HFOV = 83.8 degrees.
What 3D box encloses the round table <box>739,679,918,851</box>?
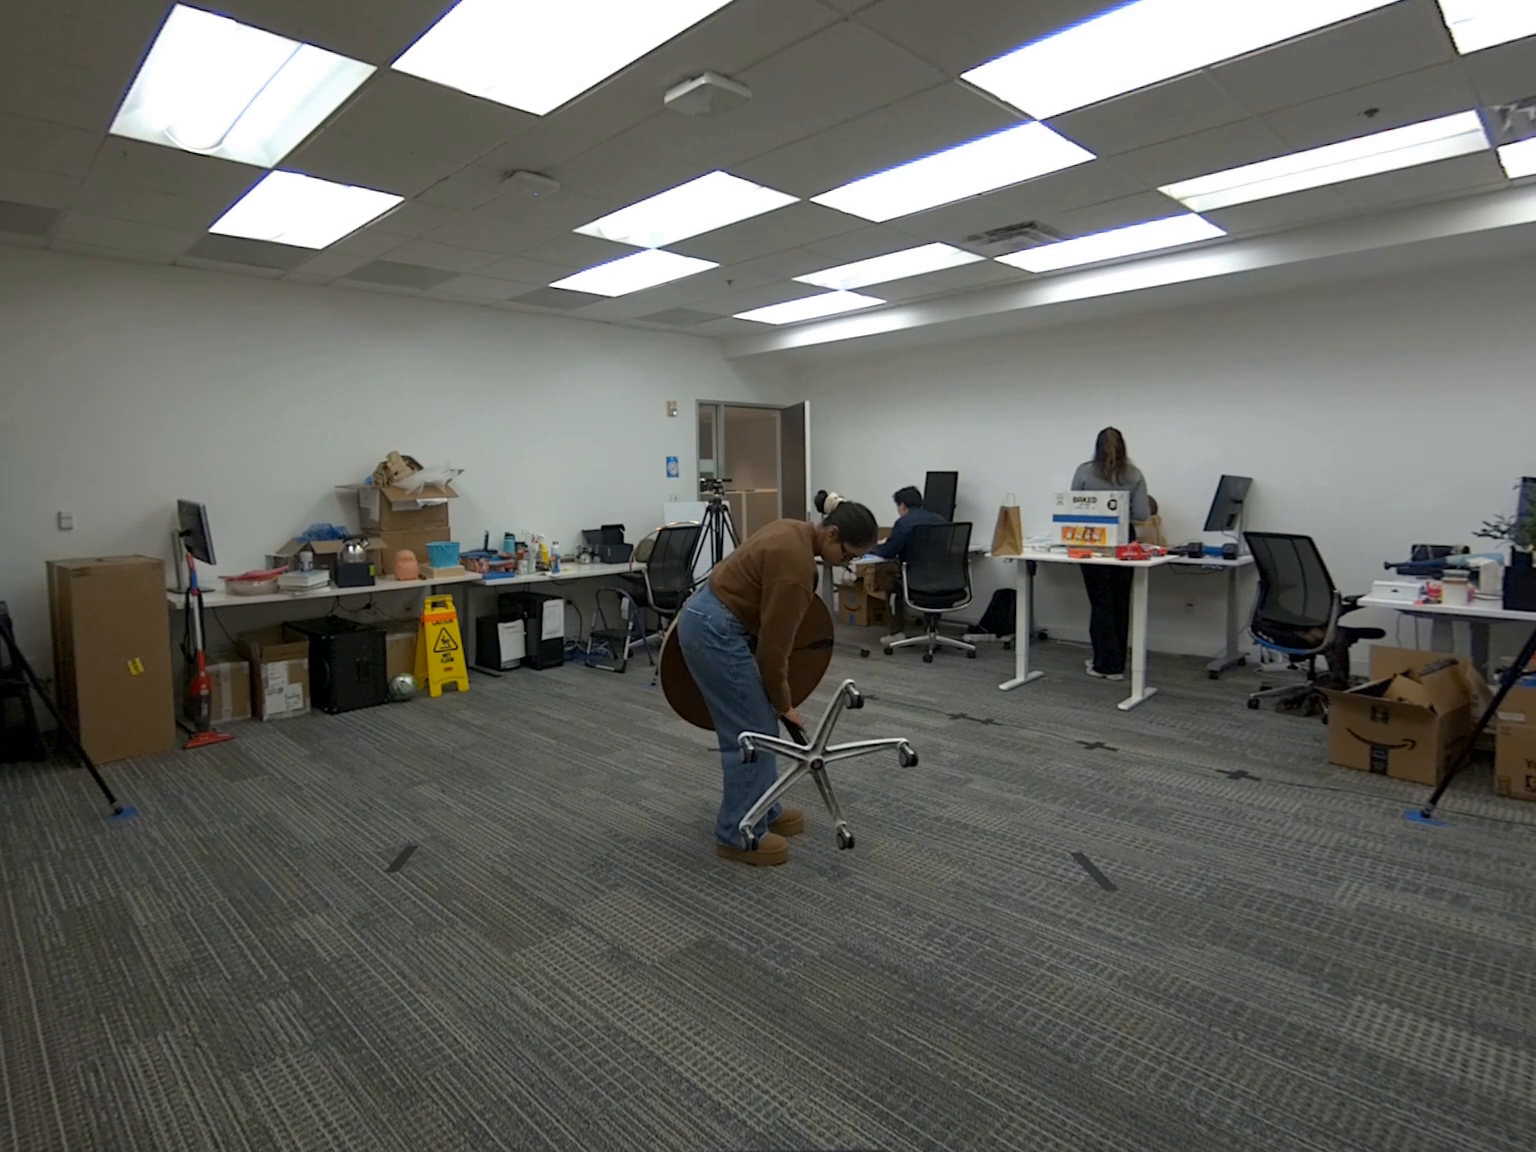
[{"bbox_3d":[0.065,0.507,3.212,0.750,0.750,0.823,-3,27,-21],"label":"round table"}]
